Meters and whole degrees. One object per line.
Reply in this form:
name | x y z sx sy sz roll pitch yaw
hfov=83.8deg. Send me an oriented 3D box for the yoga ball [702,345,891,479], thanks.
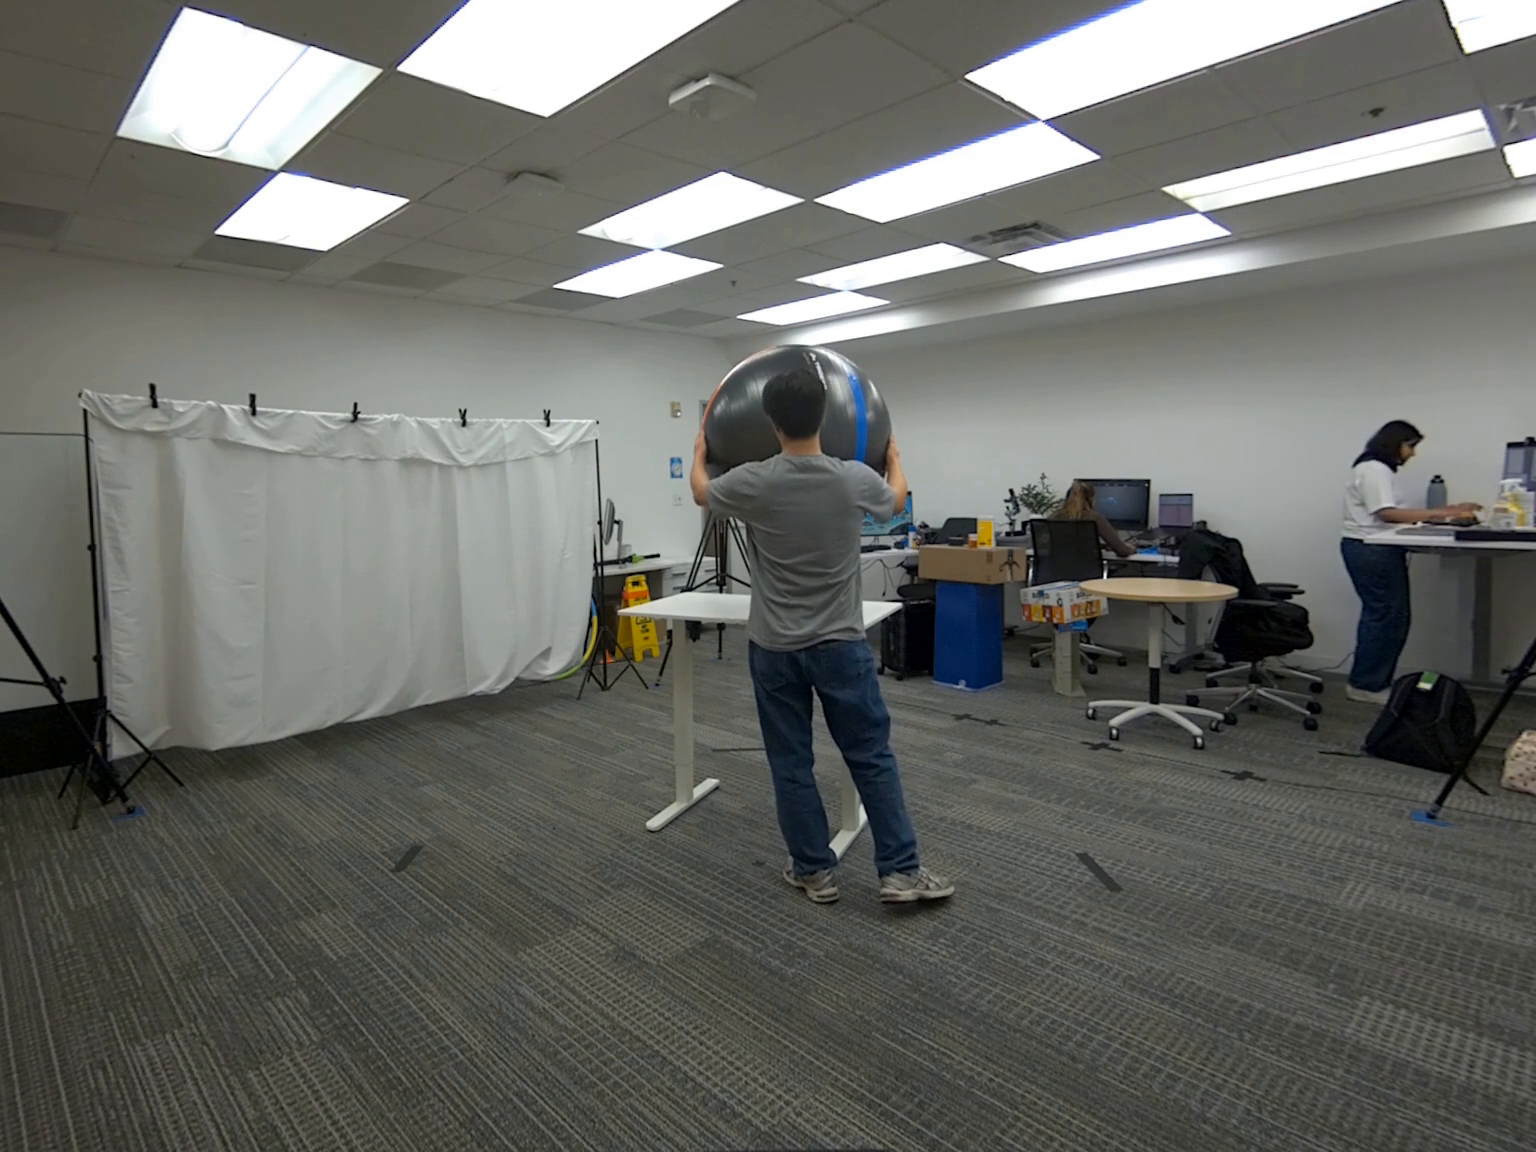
yoga ball | 0.107 -0.520 3.384 0.757 0.755 0.762 -1 5 -2
